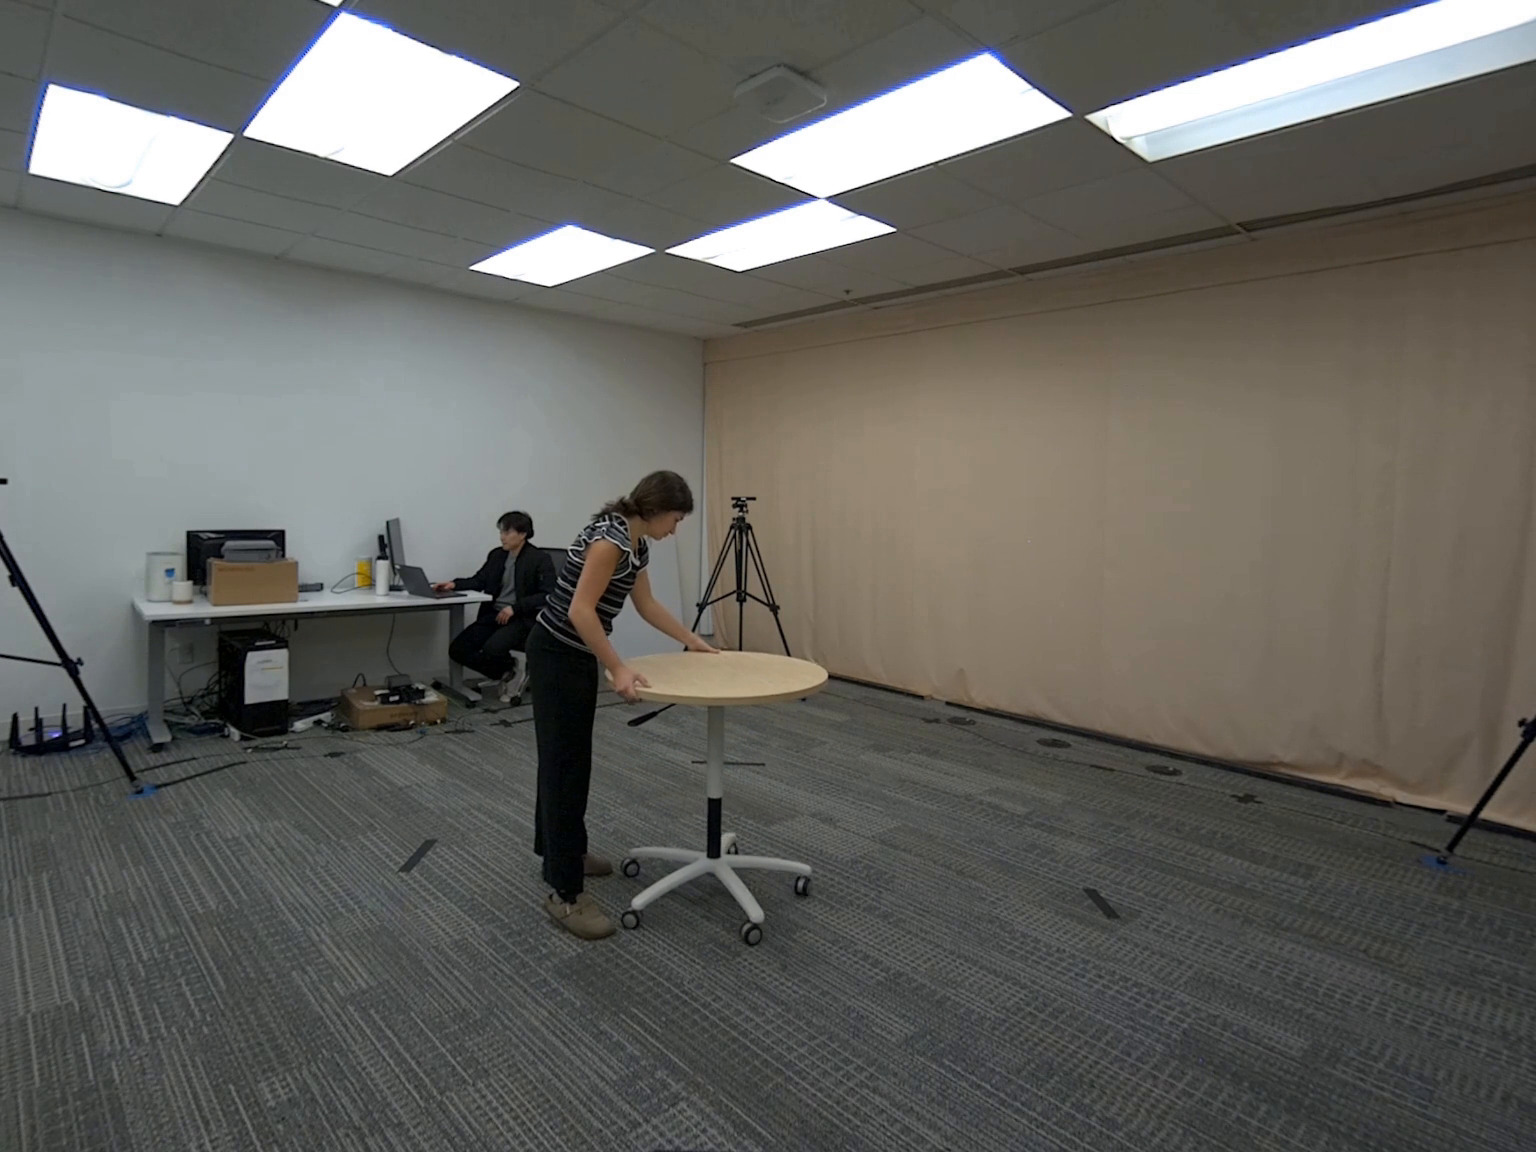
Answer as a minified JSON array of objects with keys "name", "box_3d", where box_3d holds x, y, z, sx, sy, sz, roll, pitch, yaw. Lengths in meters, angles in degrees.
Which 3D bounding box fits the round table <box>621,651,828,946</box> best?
[{"name":"round table","box_3d":[-0.201,0.721,2.932,0.784,0.784,0.788,1,4,-1]}]
